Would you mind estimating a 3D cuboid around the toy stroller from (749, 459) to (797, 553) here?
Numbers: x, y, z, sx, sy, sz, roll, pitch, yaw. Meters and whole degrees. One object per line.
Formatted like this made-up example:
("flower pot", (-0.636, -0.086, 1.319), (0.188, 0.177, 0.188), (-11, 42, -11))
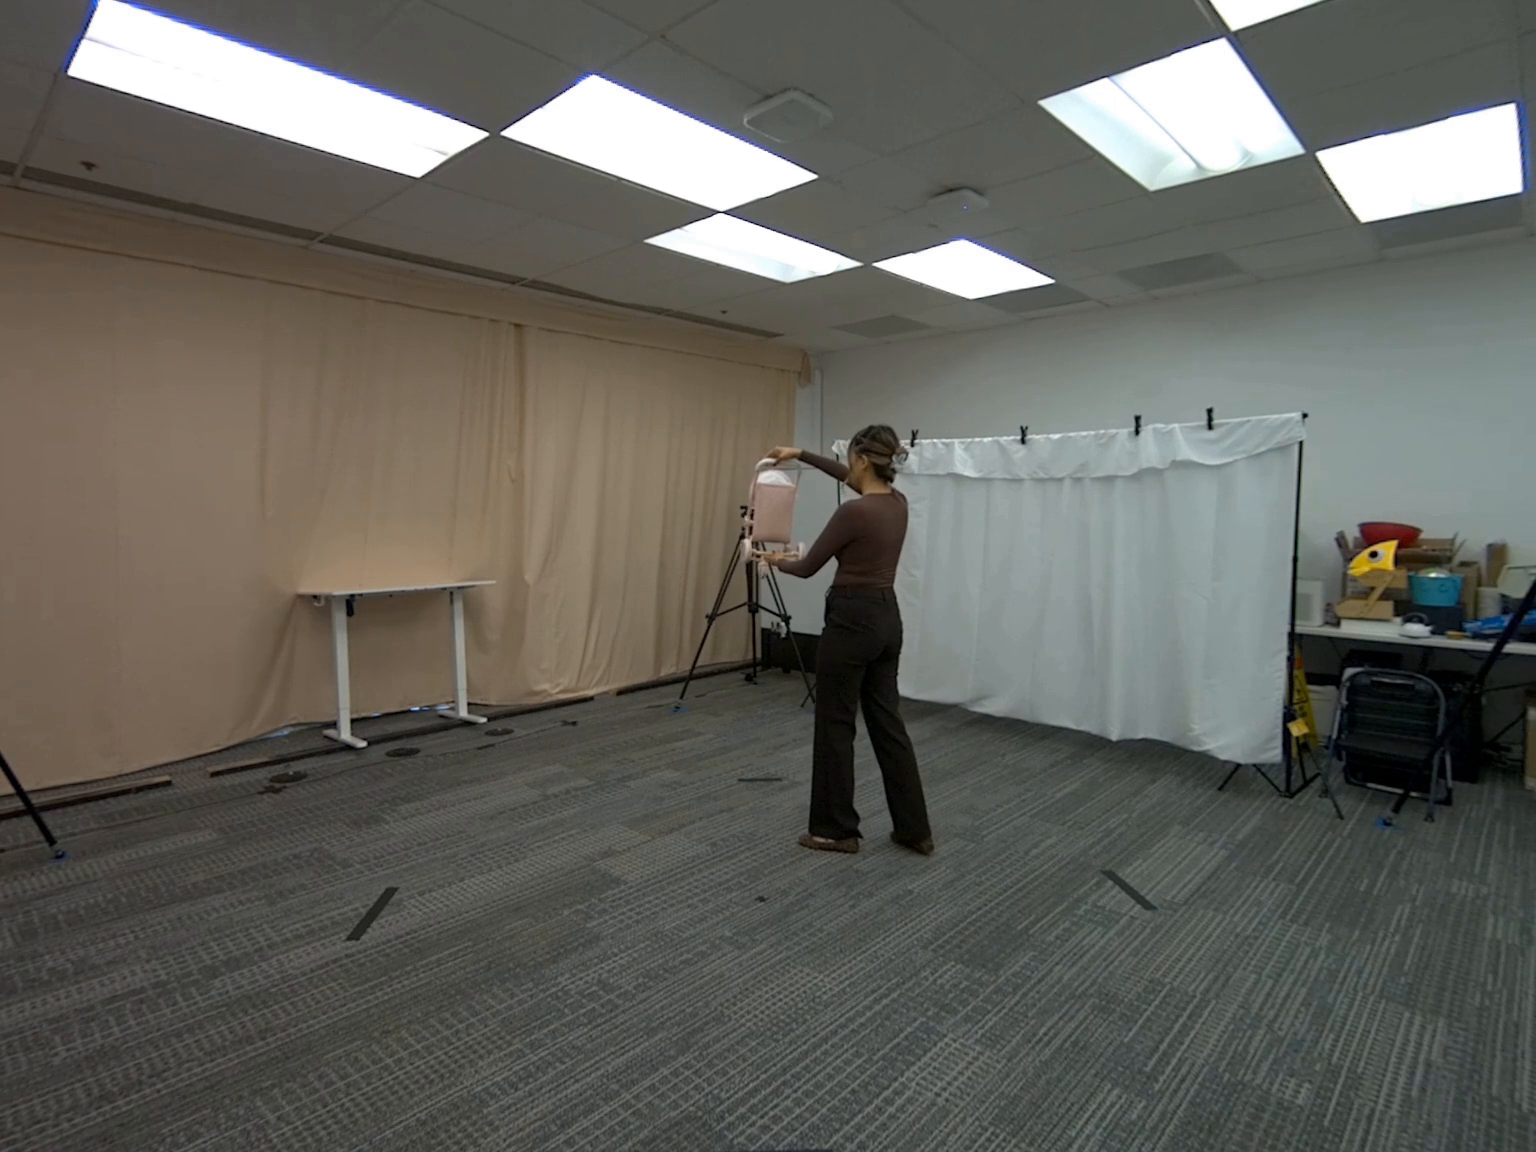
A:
("toy stroller", (0.019, -0.249, 3.844), (0.279, 0.535, 0.344), (3, -1, -7))
